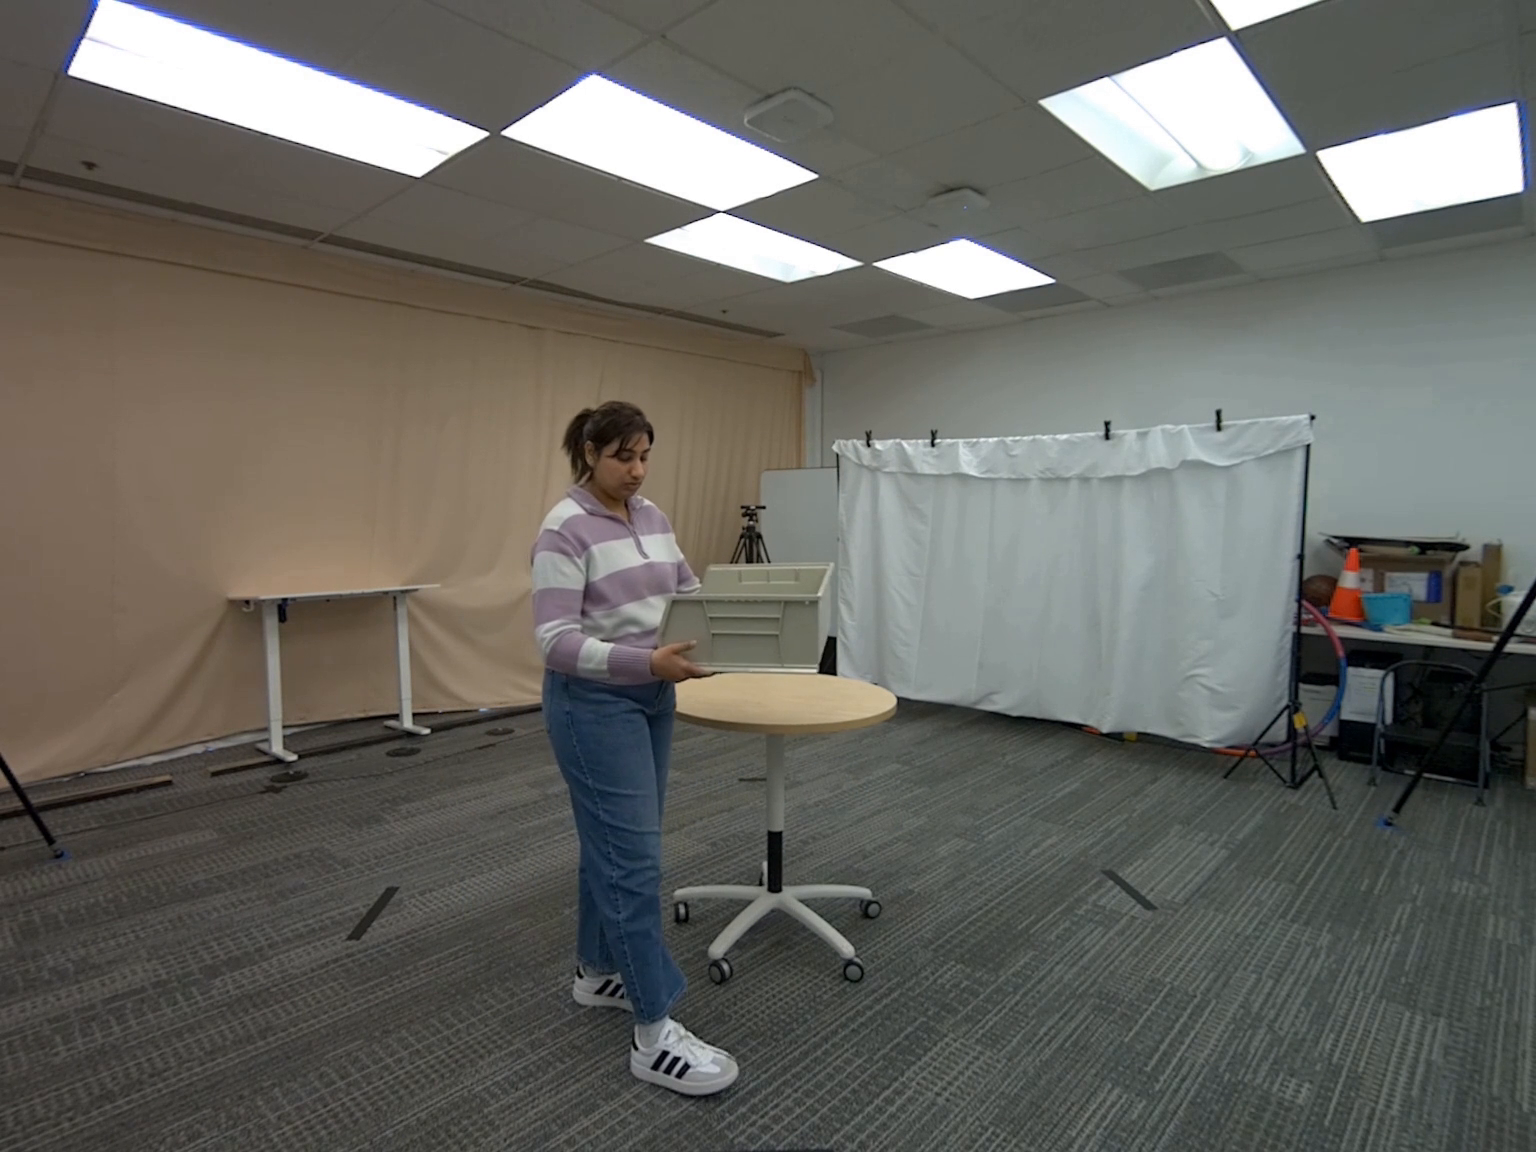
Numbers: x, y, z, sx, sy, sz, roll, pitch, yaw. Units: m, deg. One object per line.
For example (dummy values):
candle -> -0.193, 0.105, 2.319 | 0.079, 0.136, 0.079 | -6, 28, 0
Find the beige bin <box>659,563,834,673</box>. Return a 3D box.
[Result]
beige bin -> -0.037, 0.091, 2.062 | 0.381, 0.188, 0.420 | 0, 8, 8
